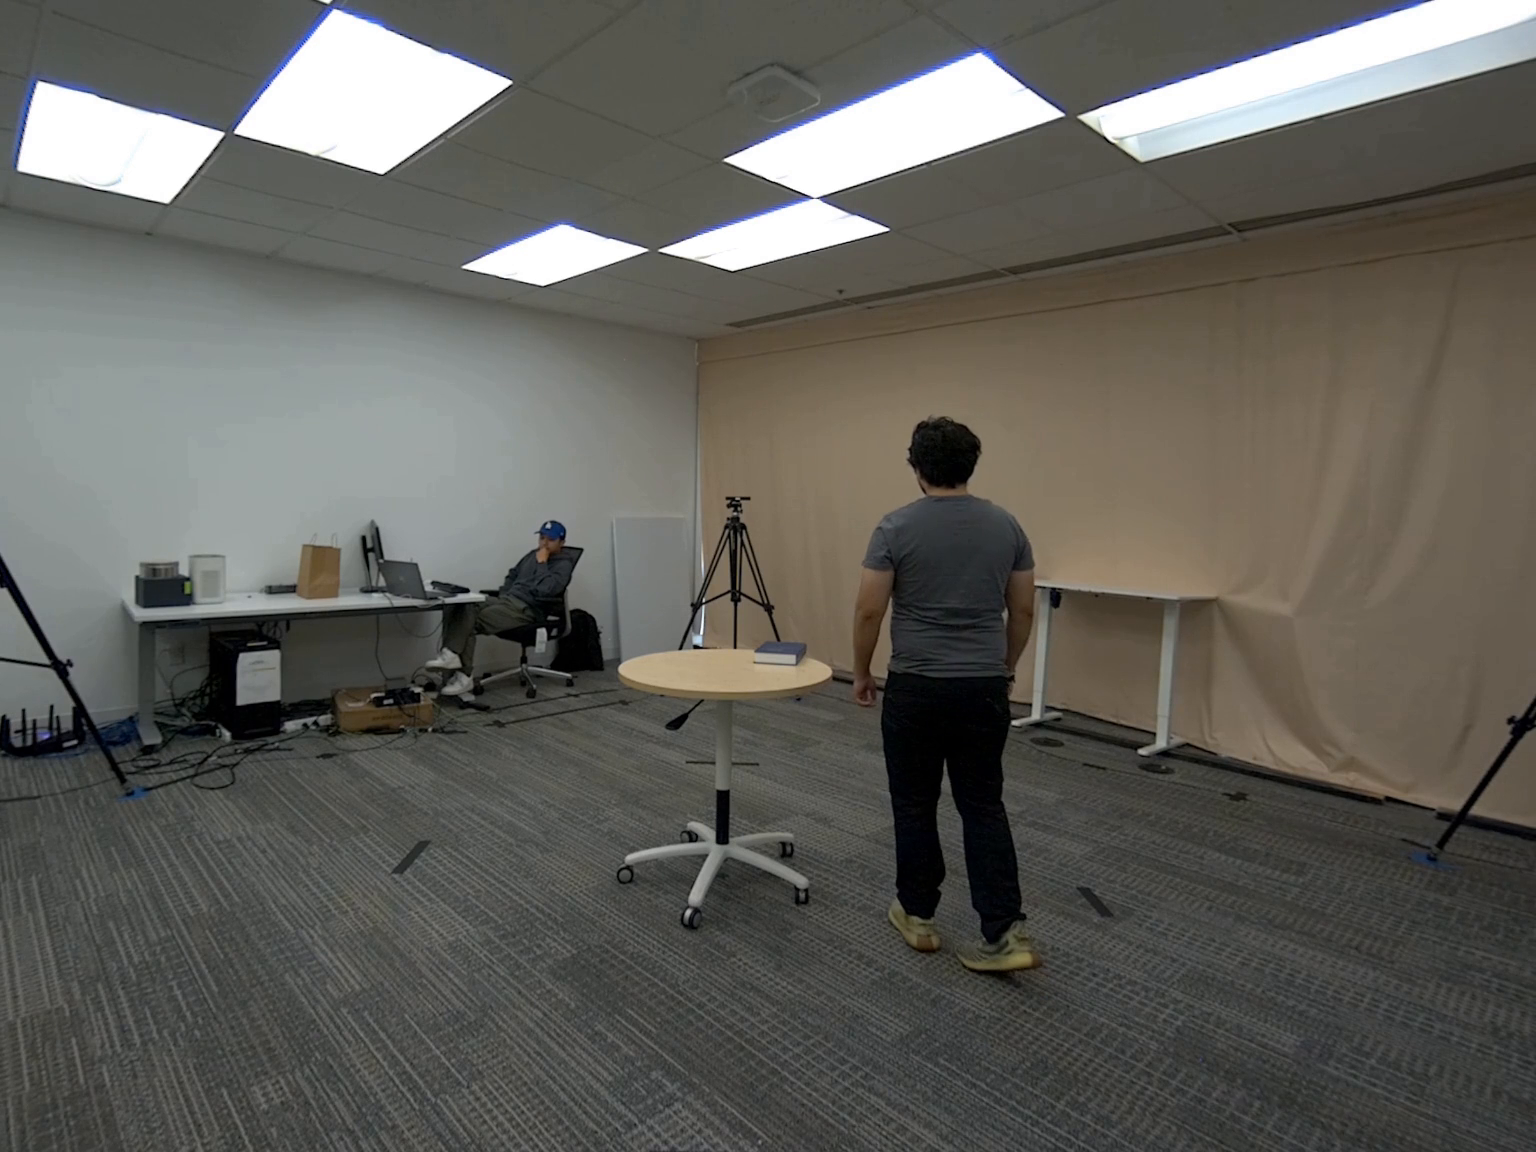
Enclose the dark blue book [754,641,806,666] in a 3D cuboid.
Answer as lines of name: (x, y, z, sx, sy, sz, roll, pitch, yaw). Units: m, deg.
dark blue book: (0.045, 0.295, 3.214, 0.165, 0.045, 0.243, 1, 5, 11)
